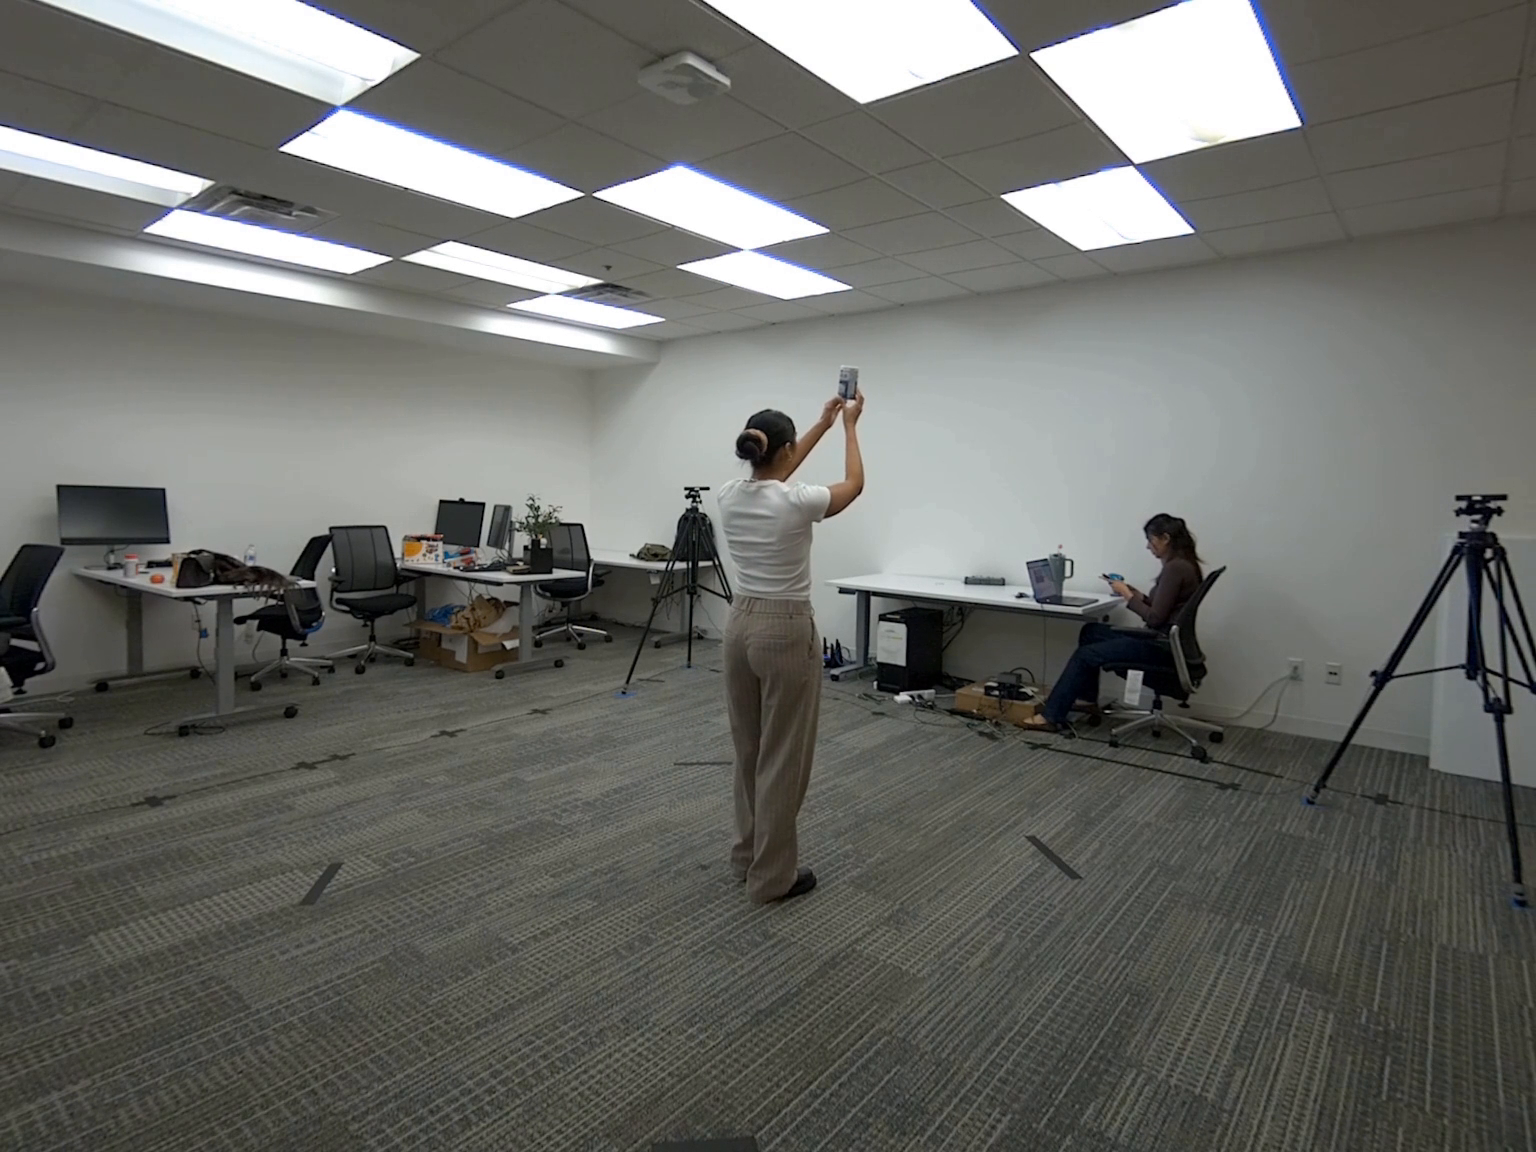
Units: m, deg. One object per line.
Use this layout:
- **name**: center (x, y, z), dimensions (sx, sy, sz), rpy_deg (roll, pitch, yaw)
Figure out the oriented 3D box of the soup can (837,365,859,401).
- **soup can**: center (0.284, -0.710, 3.089), dimensions (0.067, 0.120, 0.068), rpy_deg (2, 9, -2)
